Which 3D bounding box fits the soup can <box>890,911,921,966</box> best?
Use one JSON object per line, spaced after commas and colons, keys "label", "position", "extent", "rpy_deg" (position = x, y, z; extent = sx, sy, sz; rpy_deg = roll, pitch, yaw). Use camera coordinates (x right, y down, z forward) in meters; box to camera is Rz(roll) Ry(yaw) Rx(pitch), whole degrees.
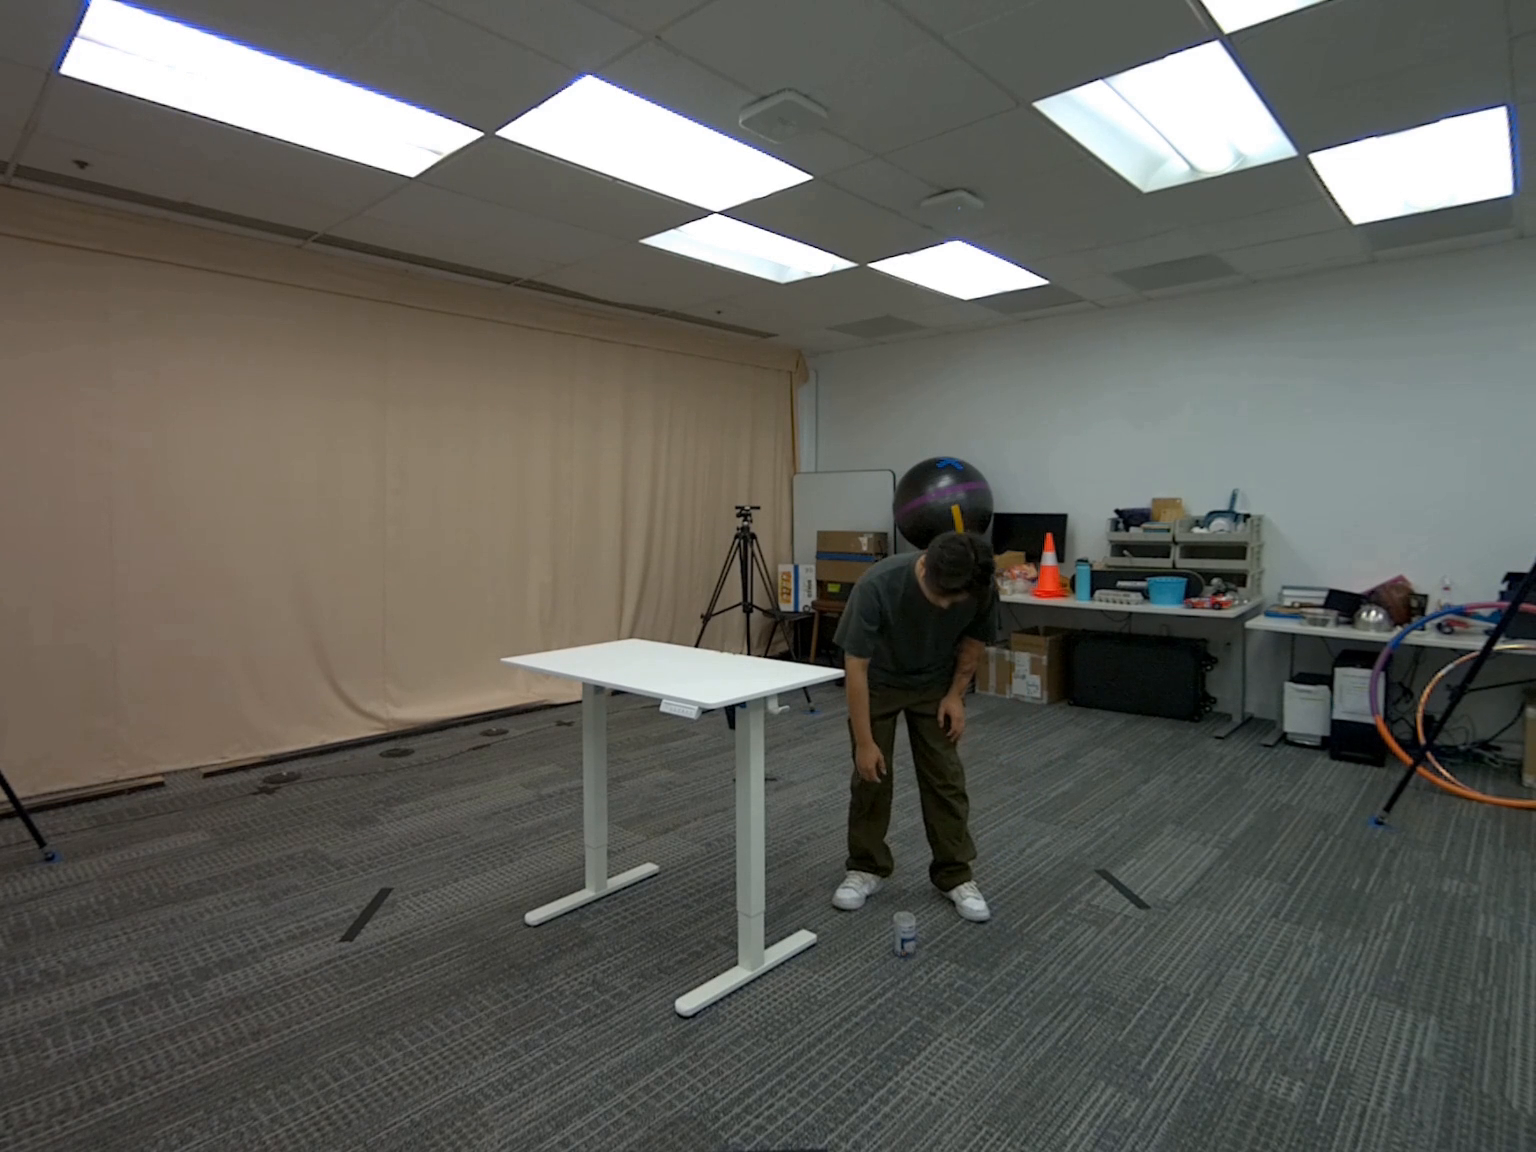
{"label": "soup can", "position": [0.423, 1.107, 2.615], "extent": [0.067, 0.121, 0.067], "rpy_deg": [1, 6, -2]}
